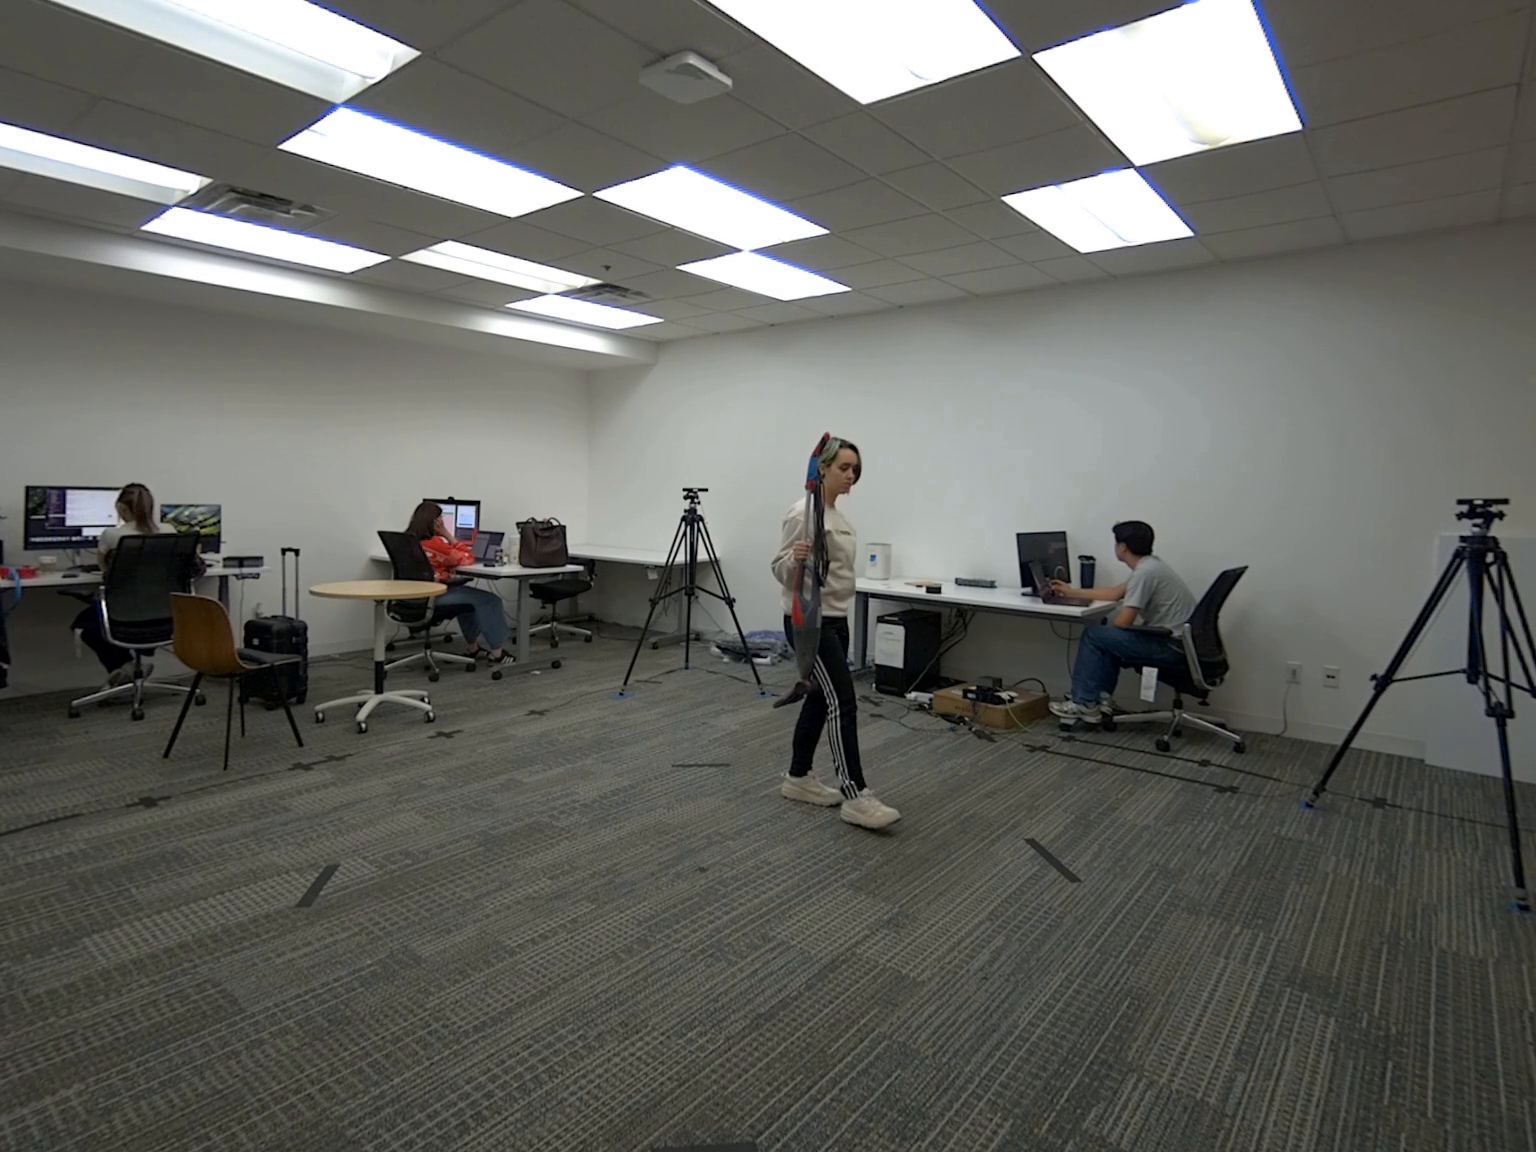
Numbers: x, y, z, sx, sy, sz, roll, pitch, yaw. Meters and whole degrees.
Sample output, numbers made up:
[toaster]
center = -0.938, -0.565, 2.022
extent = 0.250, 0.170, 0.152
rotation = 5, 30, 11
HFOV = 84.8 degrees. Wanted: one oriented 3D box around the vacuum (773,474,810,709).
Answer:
[vacuum]
center = 0.165, -0.049, 3.409
extent = 0.147, 1.051, 0.247
rotation = 4, -2, 15
